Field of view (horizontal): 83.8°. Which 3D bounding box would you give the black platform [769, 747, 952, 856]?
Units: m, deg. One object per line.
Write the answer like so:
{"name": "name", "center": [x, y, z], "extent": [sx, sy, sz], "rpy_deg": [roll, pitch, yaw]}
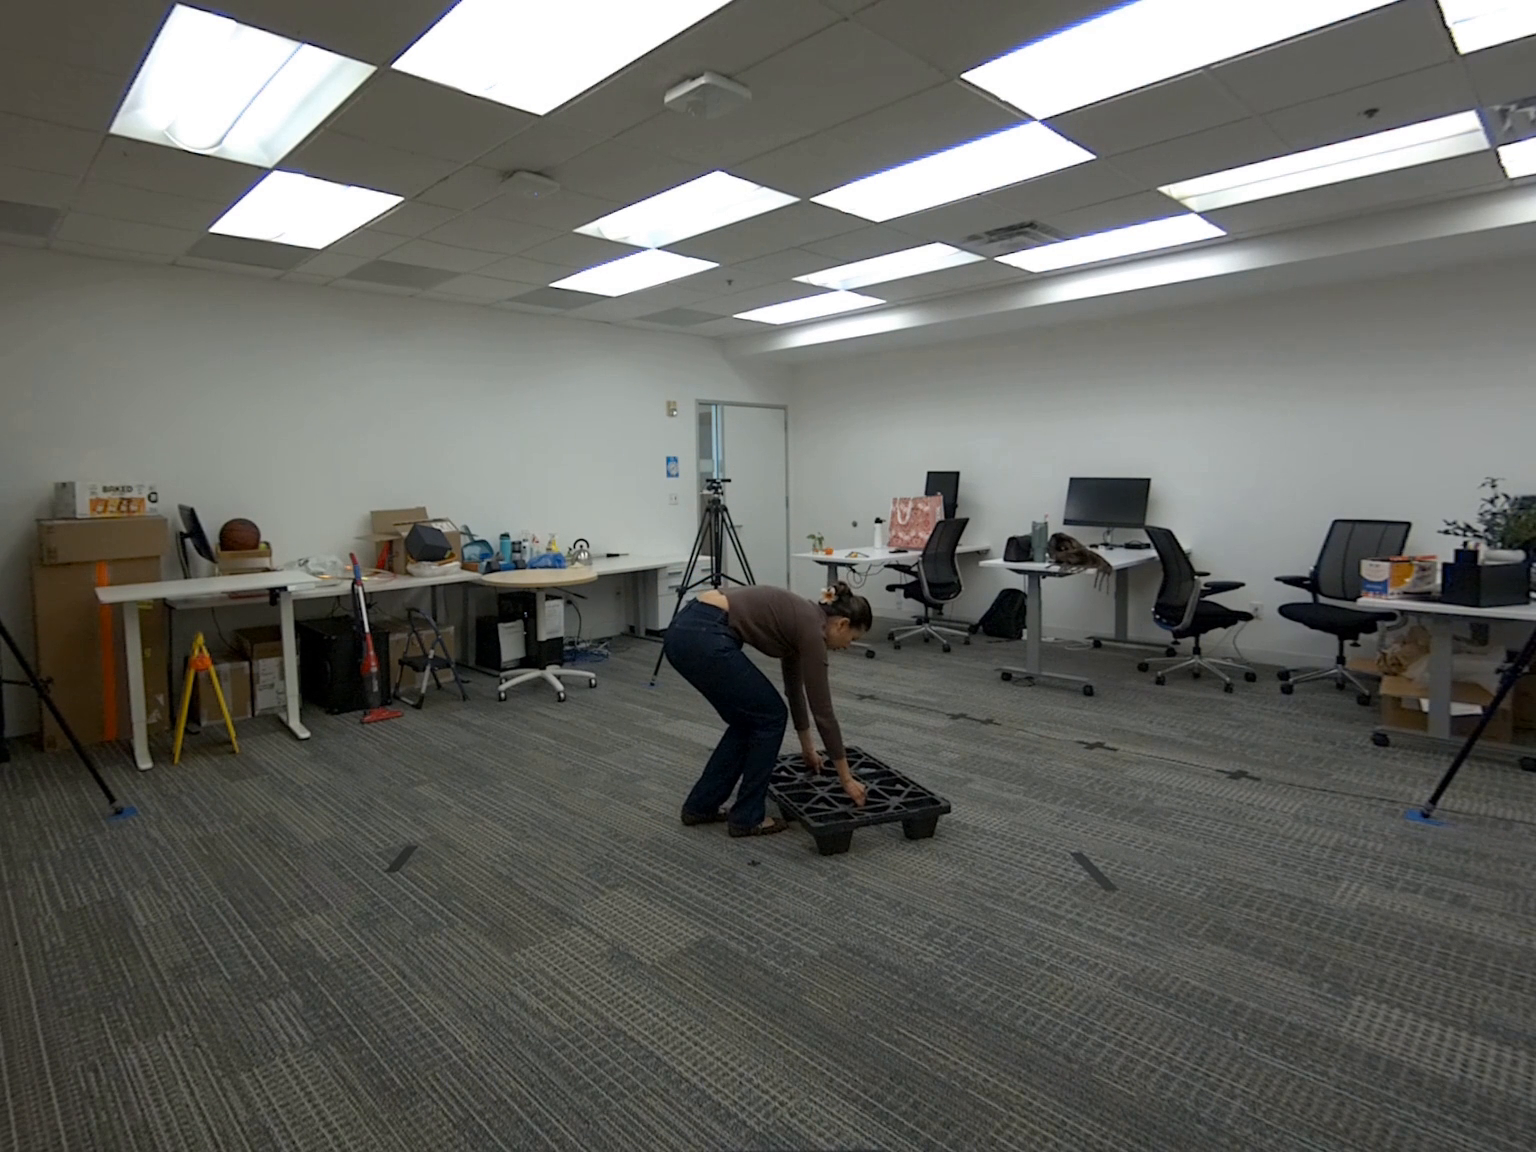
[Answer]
{"name": "black platform", "center": [0.291, 0.917, 3.573], "extent": [0.594, 0.143, 0.824], "rpy_deg": [-2, 6, -21]}
